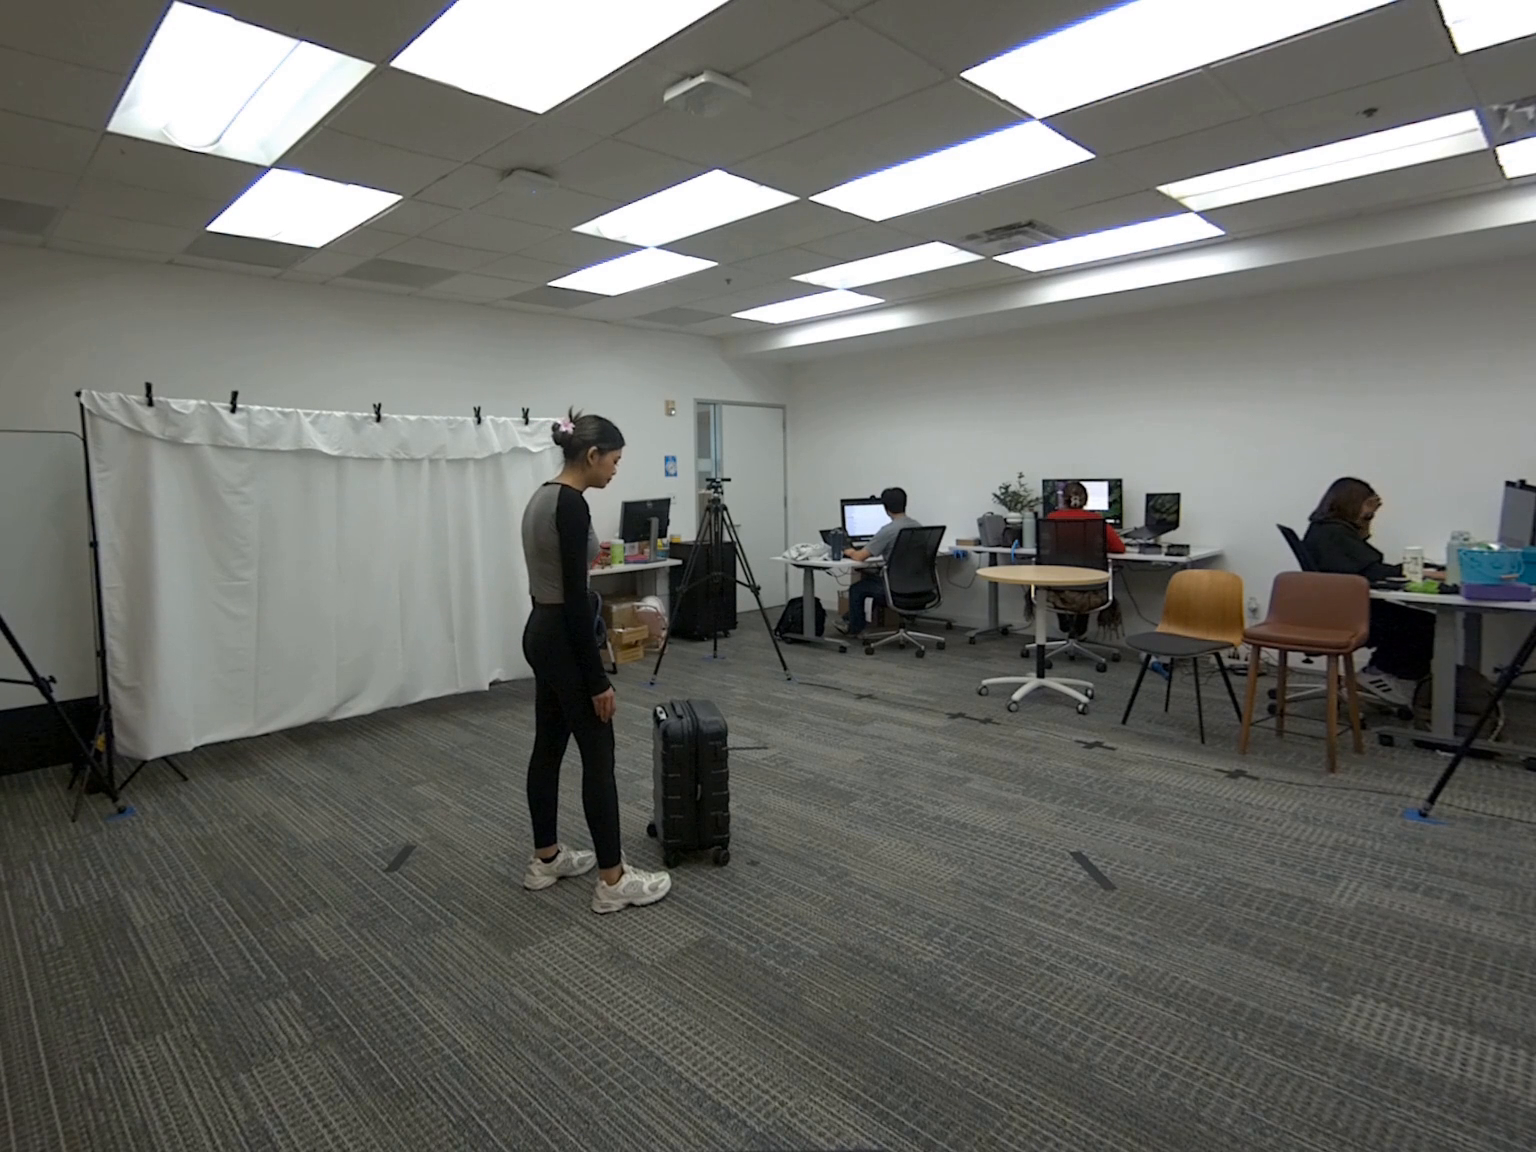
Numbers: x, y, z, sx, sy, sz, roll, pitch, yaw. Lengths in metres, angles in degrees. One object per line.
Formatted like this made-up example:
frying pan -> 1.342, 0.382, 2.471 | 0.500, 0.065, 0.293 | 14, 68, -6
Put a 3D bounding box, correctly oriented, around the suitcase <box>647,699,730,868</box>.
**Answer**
suitcase -> -0.292, 0.754, 3.227 | 0.245, 0.547, 0.381 | -1, 5, -12
